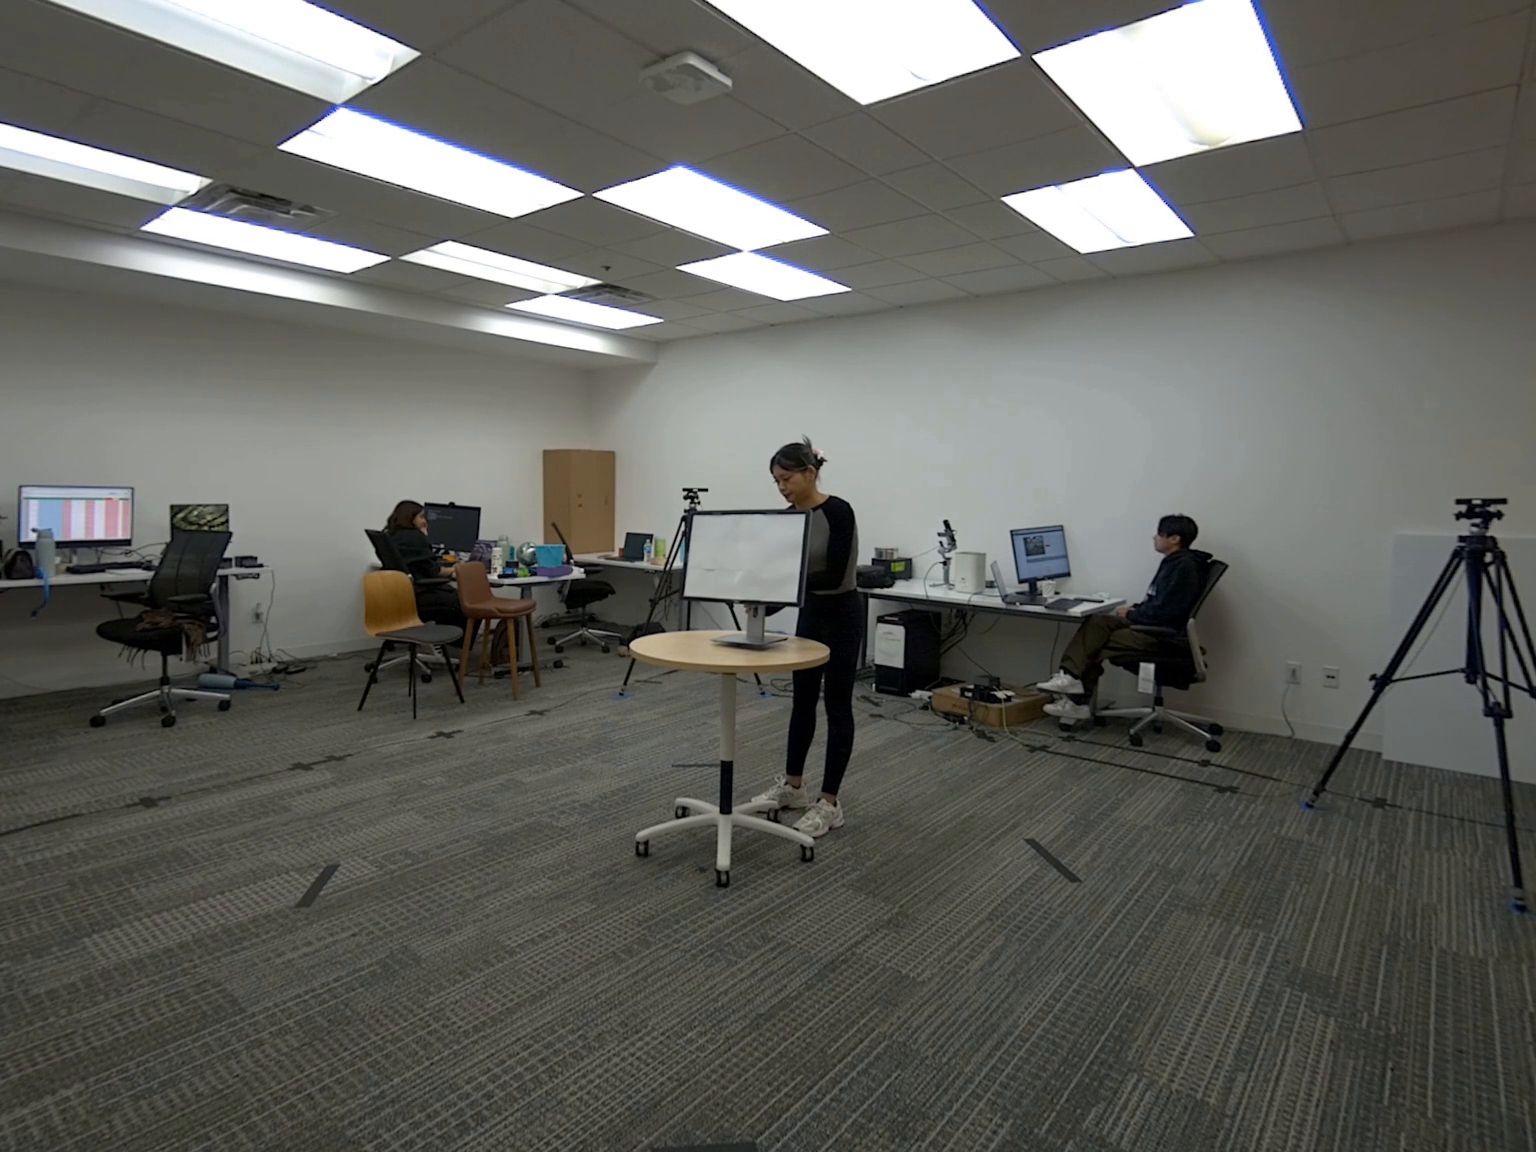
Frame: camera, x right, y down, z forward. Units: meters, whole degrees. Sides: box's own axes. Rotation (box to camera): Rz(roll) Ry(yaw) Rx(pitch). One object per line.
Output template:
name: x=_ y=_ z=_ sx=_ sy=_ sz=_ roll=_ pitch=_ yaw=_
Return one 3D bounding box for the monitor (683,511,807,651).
monitor: x=-0.089 y=0.003 z=3.287 sx=0.546 sy=0.512 sz=0.170 roll=3 pitch=9 yaw=34
